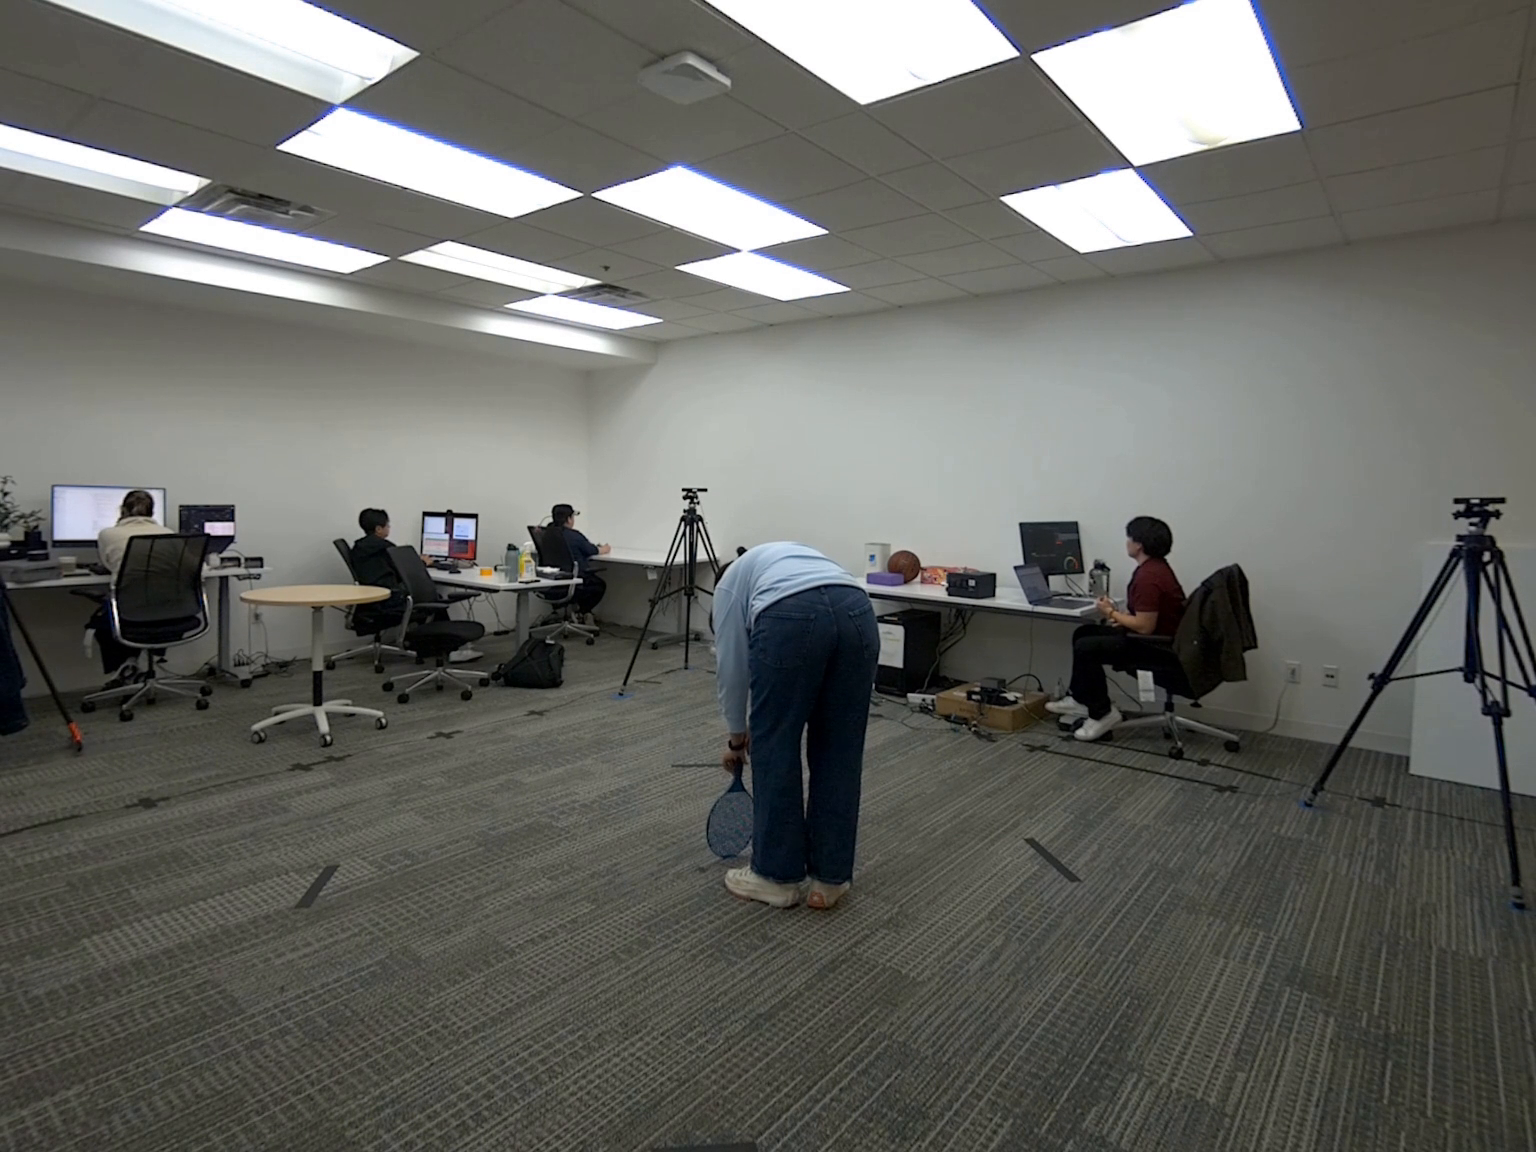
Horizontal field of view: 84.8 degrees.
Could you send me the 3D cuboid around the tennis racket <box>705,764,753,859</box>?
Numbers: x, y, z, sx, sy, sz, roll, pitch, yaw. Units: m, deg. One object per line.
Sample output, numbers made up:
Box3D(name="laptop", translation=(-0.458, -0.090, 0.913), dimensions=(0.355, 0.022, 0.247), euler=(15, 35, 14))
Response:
Box3D(name="tennis racket", translation=(-0.138, 0.846, 3.199), dimensions=(0.208, 0.433, 0.032), euler=(4, 1, -28))
